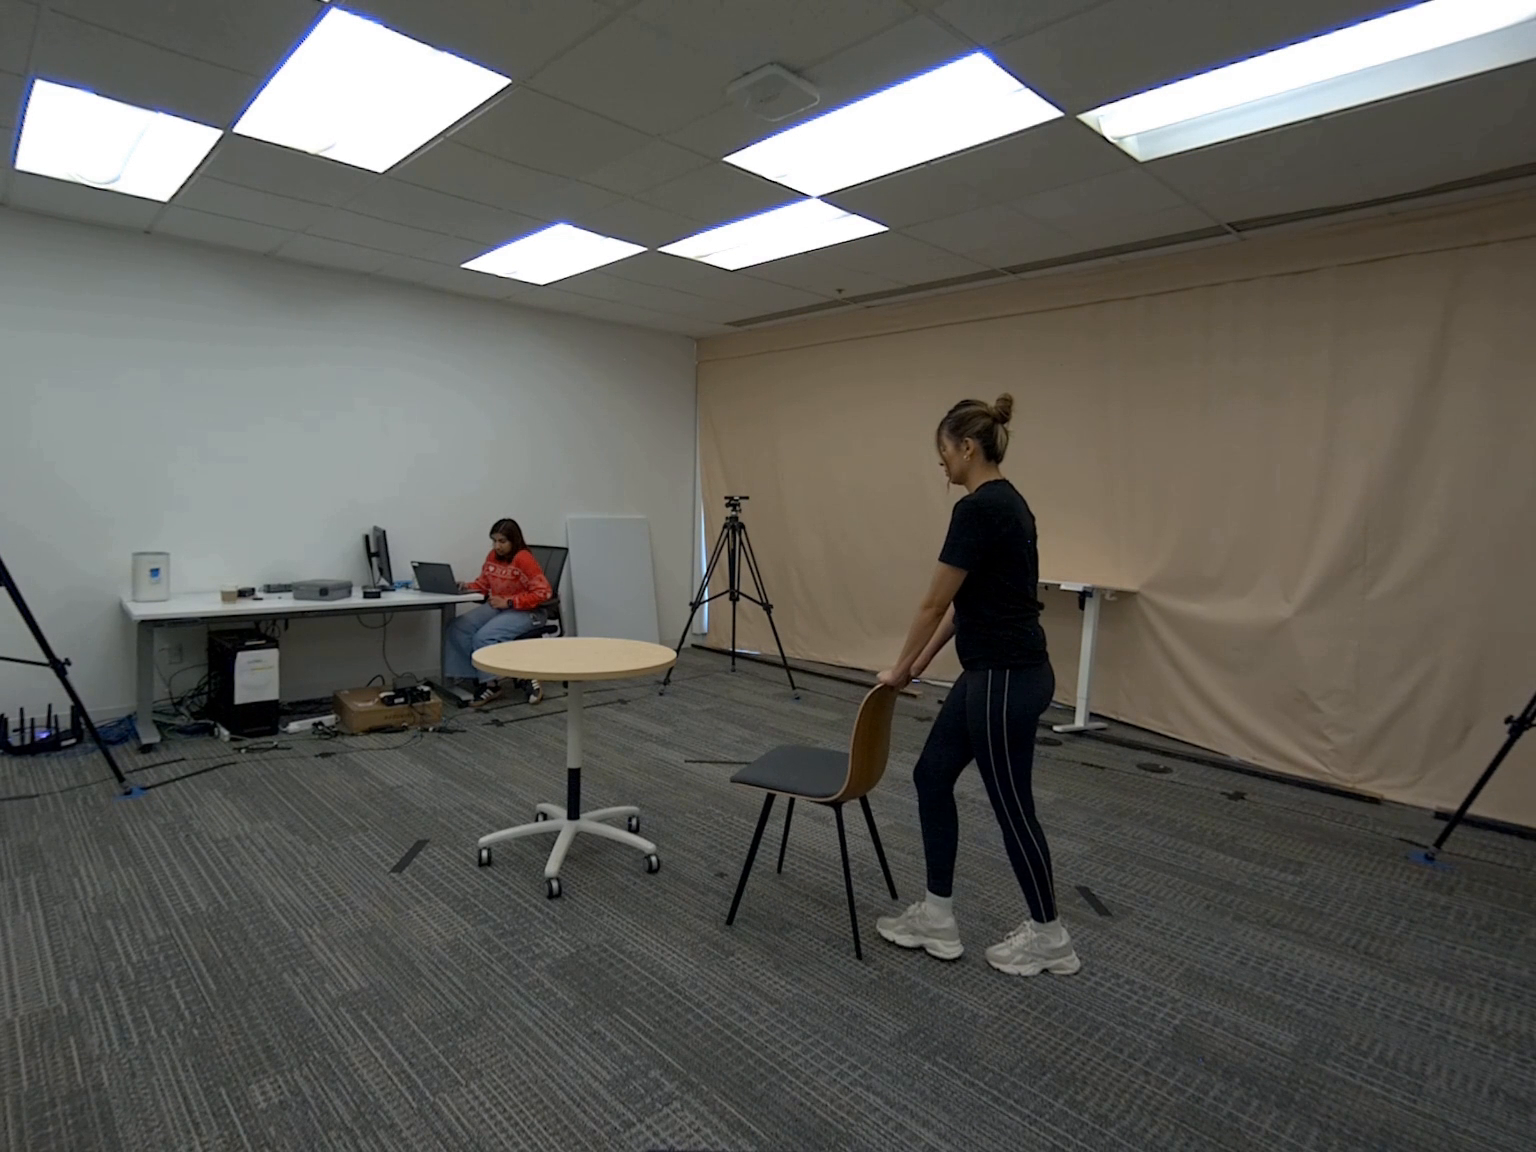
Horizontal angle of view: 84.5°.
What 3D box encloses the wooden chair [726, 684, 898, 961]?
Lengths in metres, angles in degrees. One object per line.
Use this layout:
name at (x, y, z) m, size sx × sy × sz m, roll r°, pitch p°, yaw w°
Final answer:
wooden chair at (0.157, 0.711, 2.813) m, size 0.533 × 0.874 × 0.470 m, roll 7°, pitch 6°, yaw 24°
